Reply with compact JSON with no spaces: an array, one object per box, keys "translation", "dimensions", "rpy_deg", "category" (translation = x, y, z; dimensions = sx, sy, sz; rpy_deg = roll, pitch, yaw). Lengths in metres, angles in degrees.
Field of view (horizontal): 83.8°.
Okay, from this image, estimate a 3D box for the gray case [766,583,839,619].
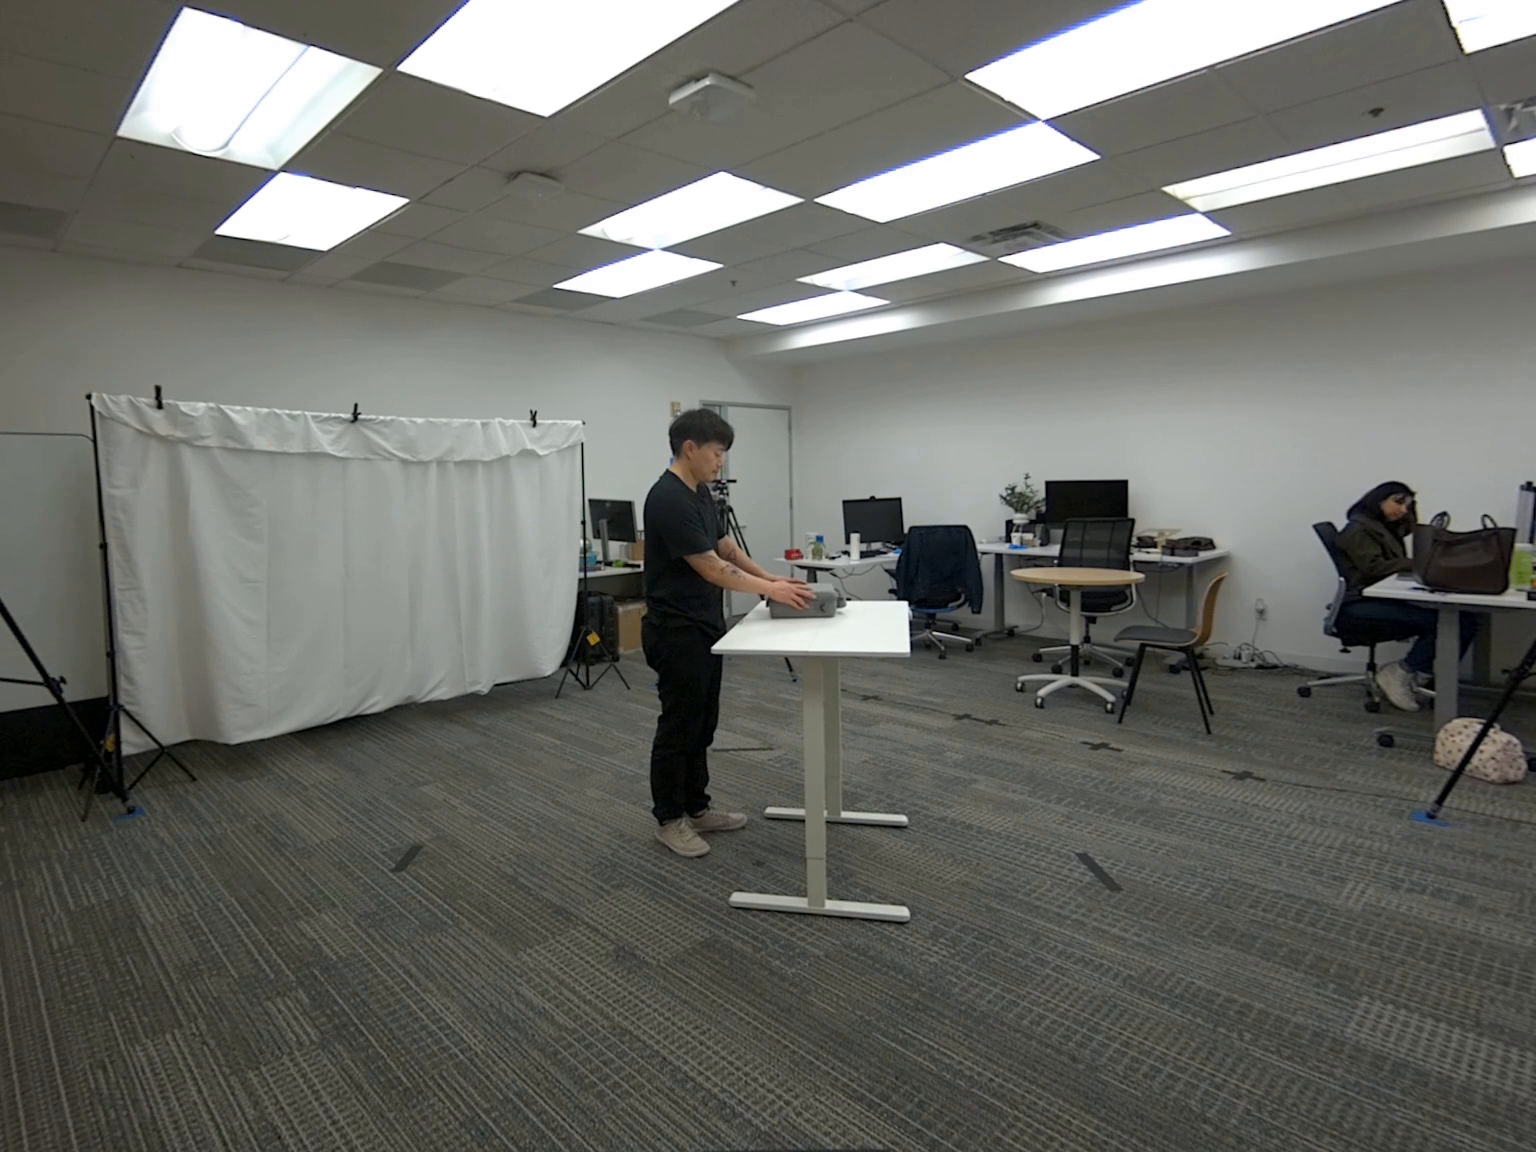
[{"translation":[0.140,0.097,3.259],"dimensions":[0.261,0.104,0.257],"rpy_deg":[-2,4,3],"category":"gray case"}]
